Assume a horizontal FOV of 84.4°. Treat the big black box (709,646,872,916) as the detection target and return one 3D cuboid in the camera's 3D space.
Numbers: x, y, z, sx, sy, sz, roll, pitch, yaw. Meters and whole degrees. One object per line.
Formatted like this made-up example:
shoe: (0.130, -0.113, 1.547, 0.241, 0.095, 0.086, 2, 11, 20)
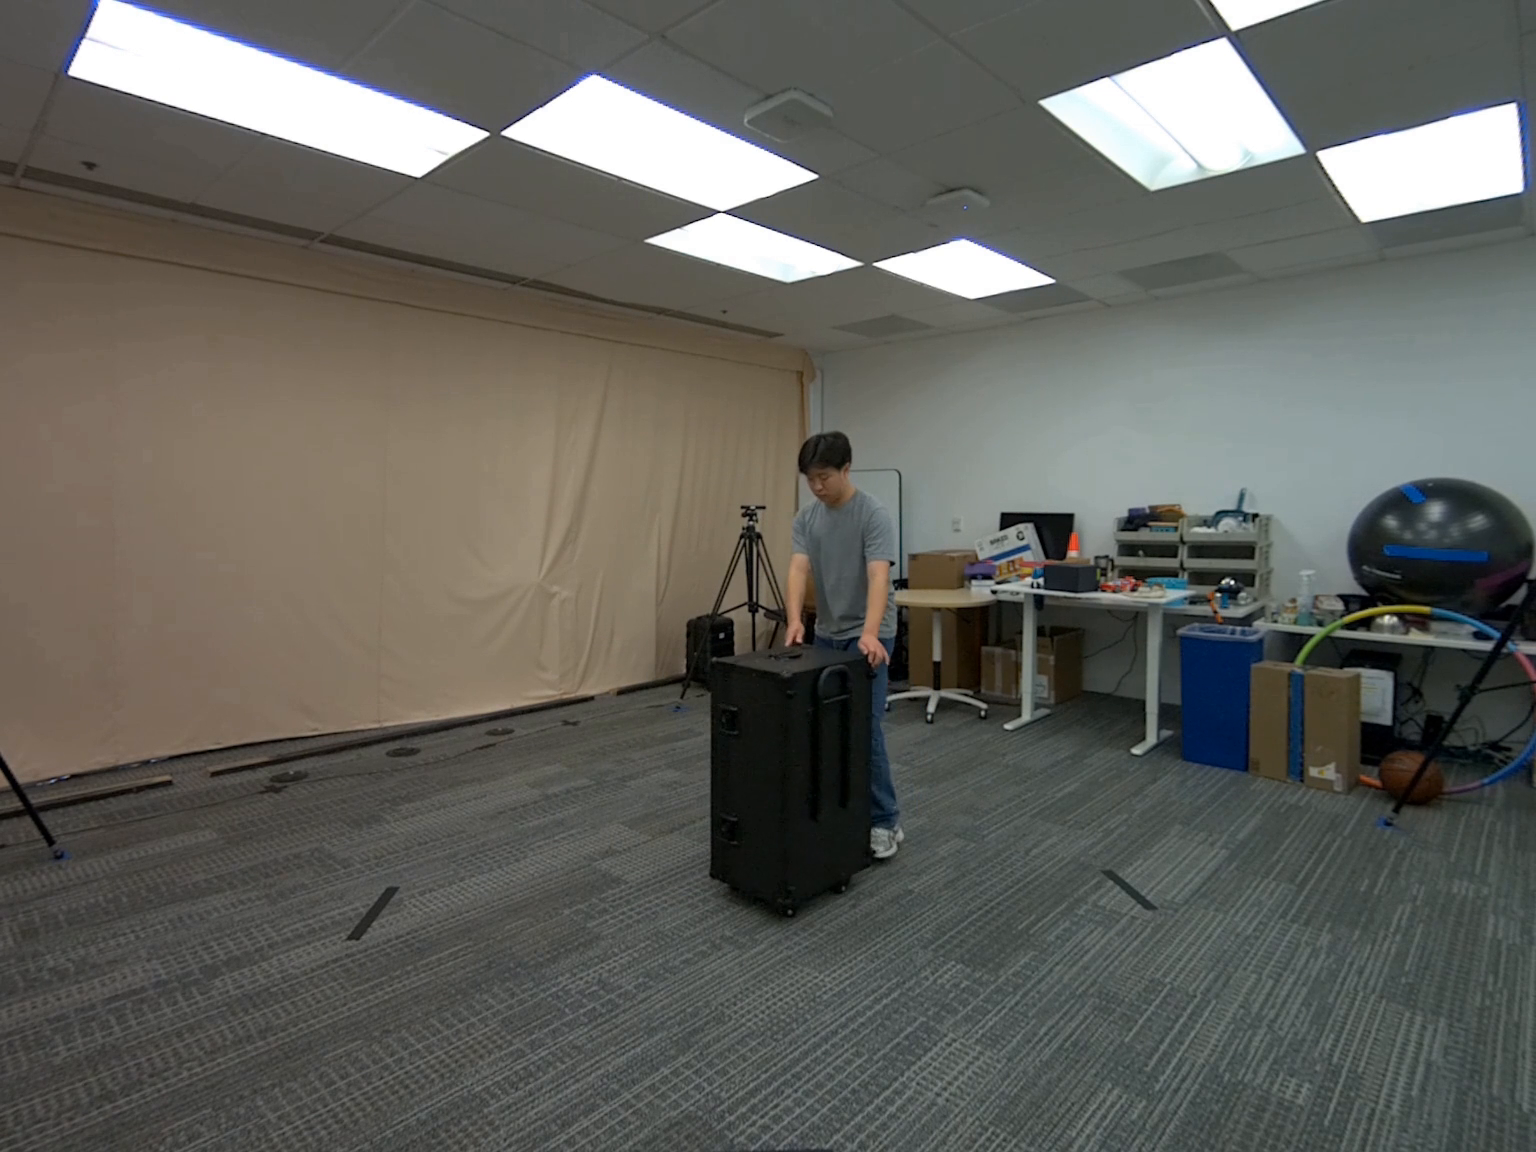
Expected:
big black box: (0.098, 0.716, 3.019, 0.410, 0.859, 0.505, 5, 5, 43)
